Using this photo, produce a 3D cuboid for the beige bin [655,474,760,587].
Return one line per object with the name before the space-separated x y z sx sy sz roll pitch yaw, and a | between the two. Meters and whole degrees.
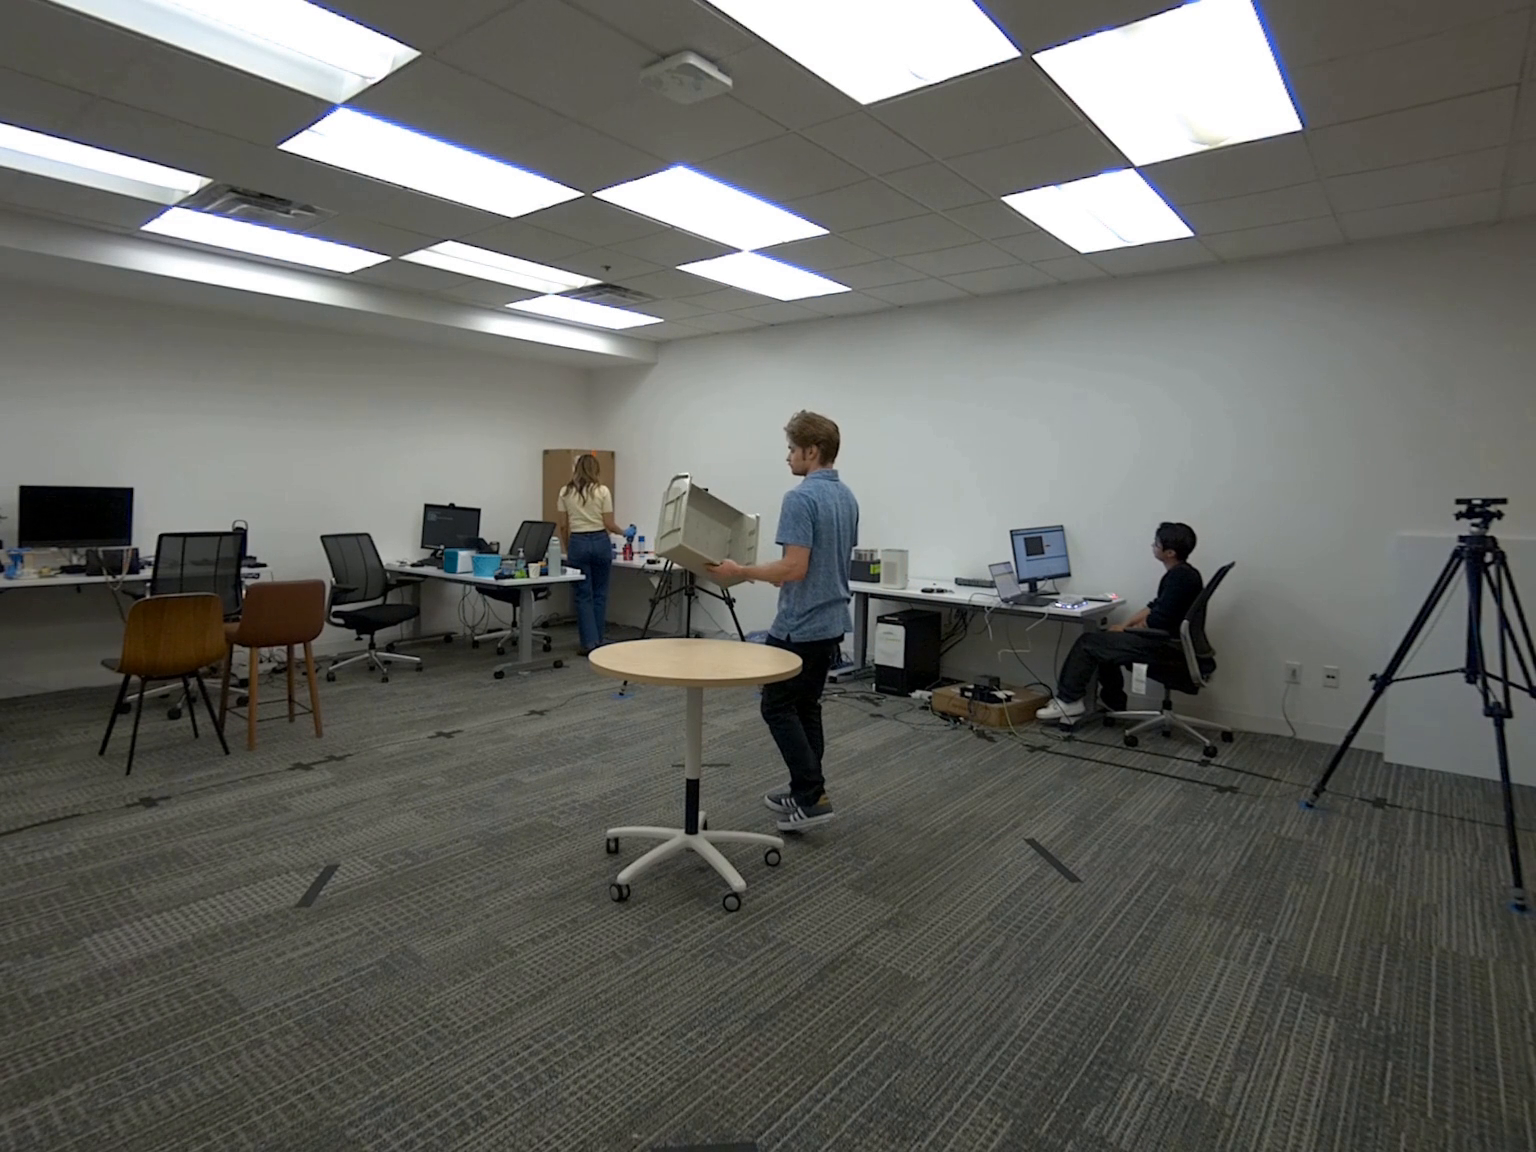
beige bin | -0.268 -0.195 3.657 0.406 0.385 0.192 28 -35 -35
